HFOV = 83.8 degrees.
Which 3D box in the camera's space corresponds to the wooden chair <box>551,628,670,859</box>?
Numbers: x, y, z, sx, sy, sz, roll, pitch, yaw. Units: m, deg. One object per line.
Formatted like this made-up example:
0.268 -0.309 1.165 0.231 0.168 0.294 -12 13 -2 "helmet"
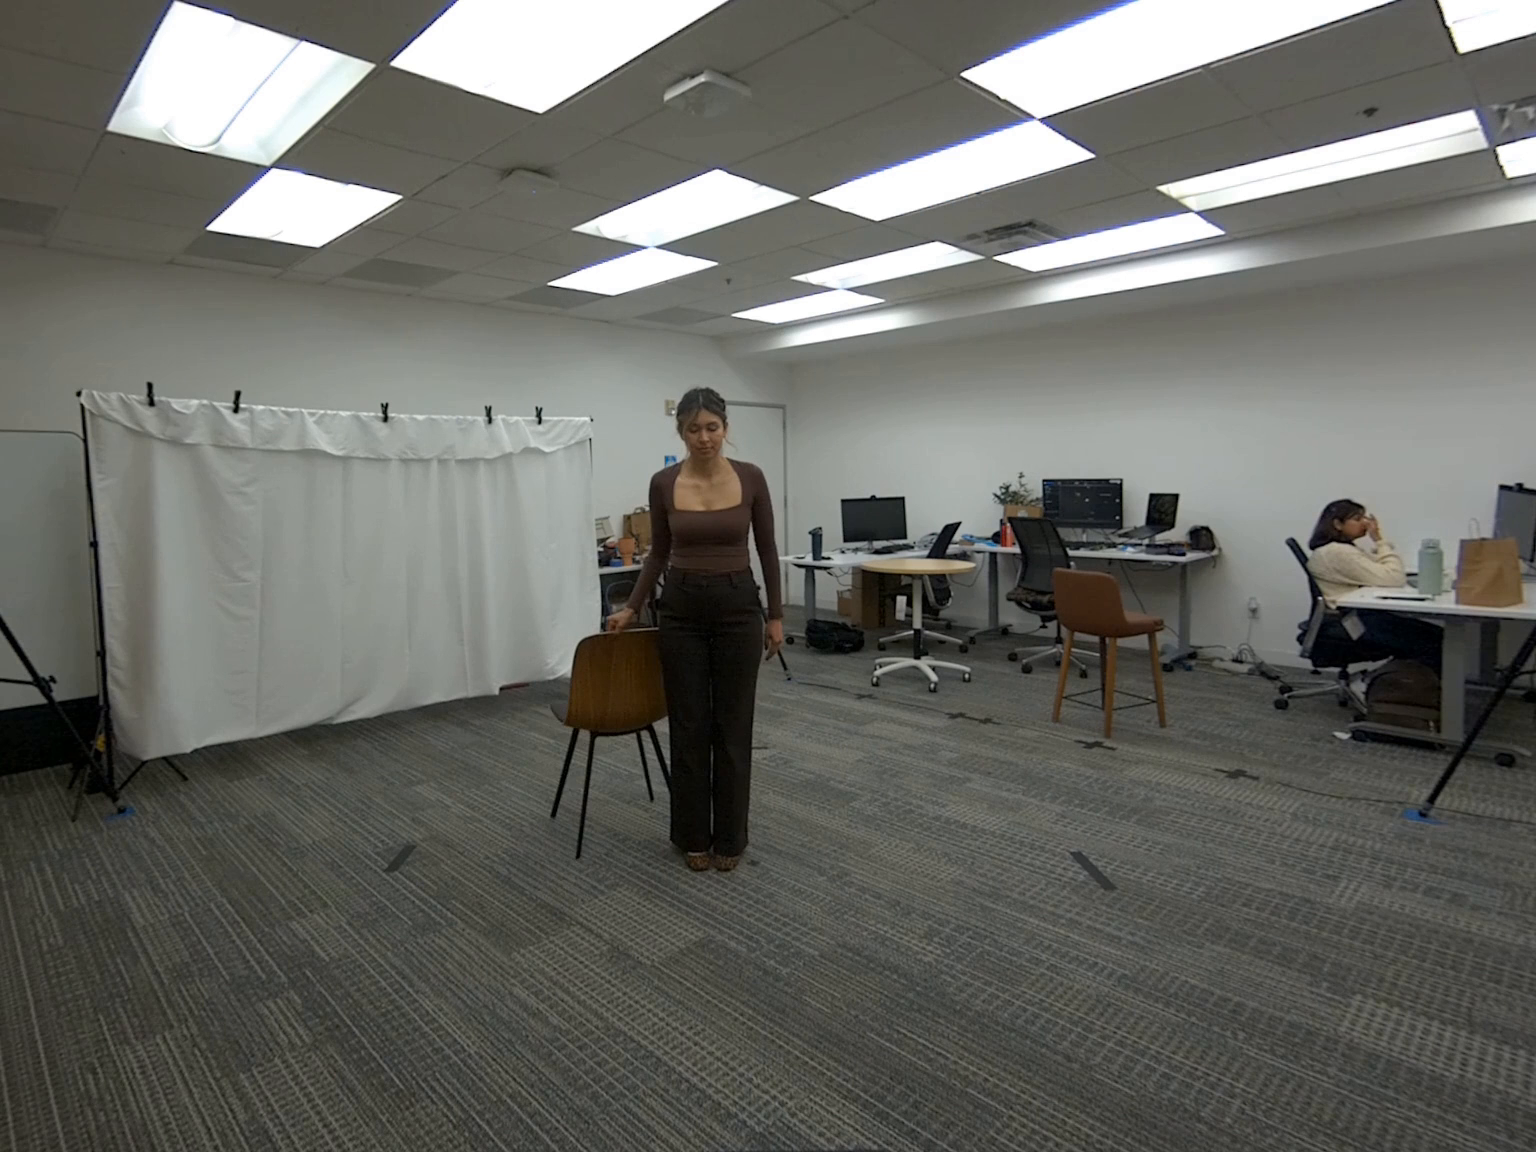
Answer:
-0.608 0.590 3.429 0.468 0.871 0.537 -3 9 -24 "wooden chair"
